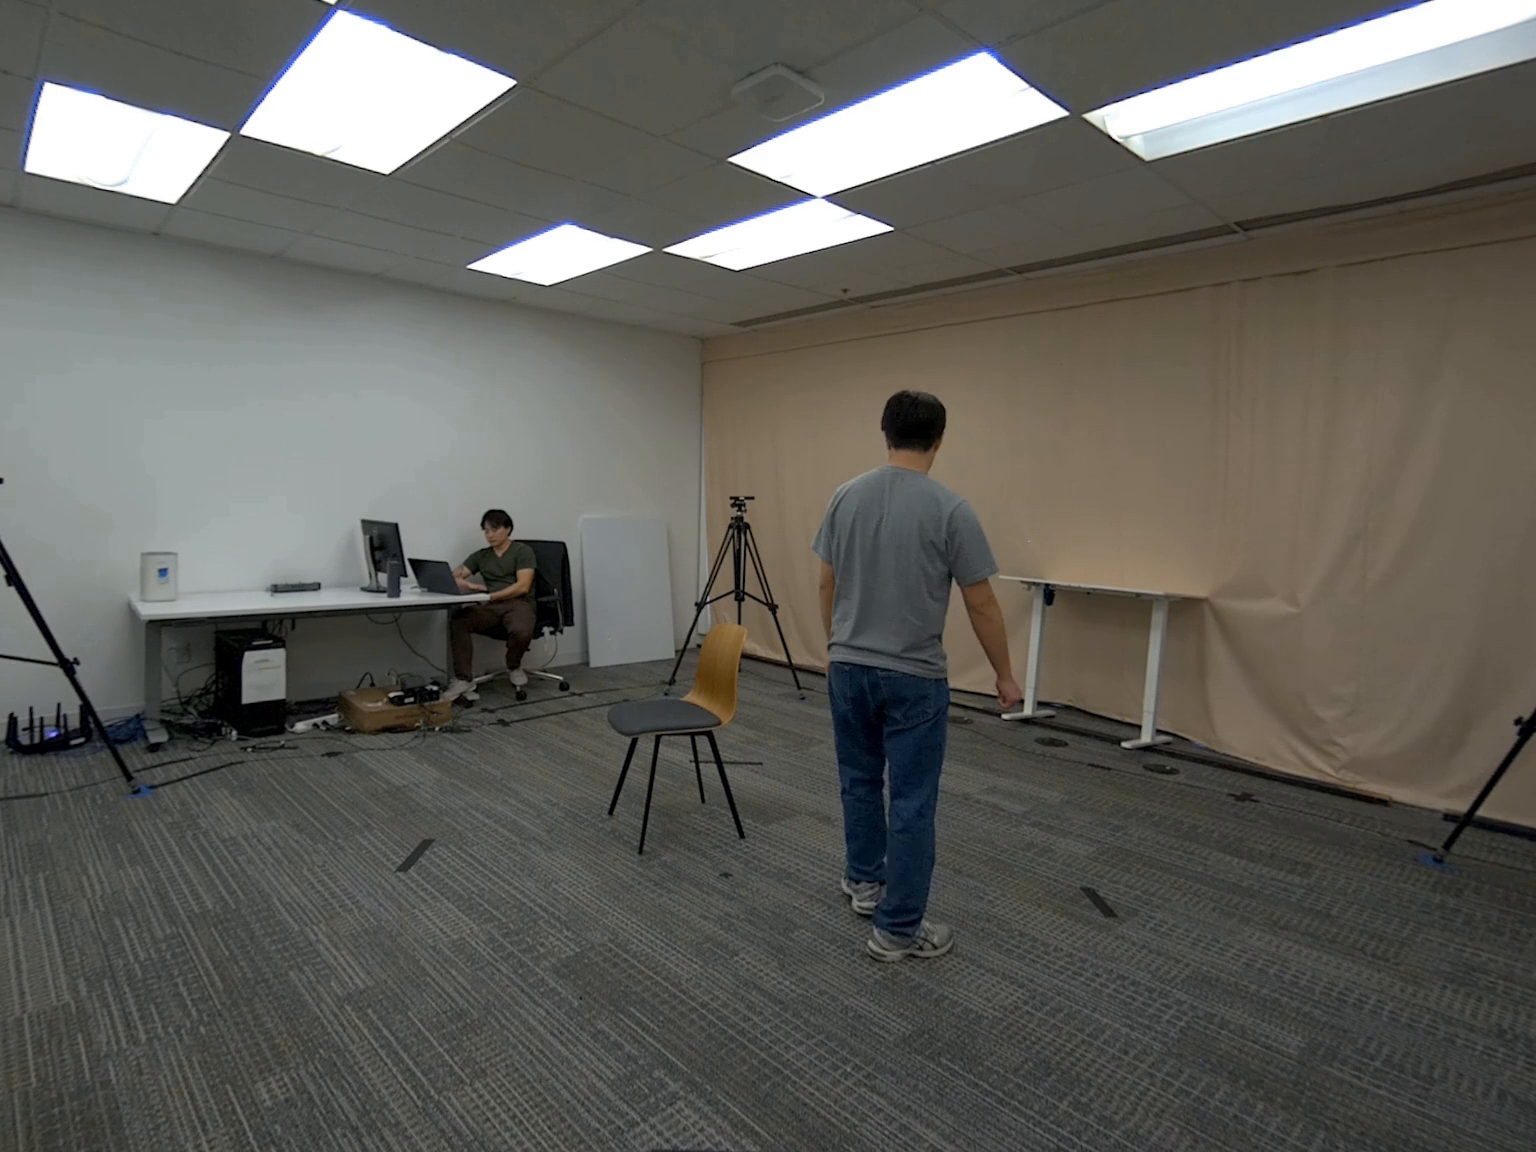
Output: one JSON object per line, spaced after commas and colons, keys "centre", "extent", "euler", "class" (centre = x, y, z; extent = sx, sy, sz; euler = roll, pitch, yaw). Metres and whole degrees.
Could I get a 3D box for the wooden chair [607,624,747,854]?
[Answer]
{"centre": [-0.397, 0.634, 3.523], "extent": [0.513, 0.876, 0.488], "euler": [4, 2, -25], "class": "wooden chair"}
